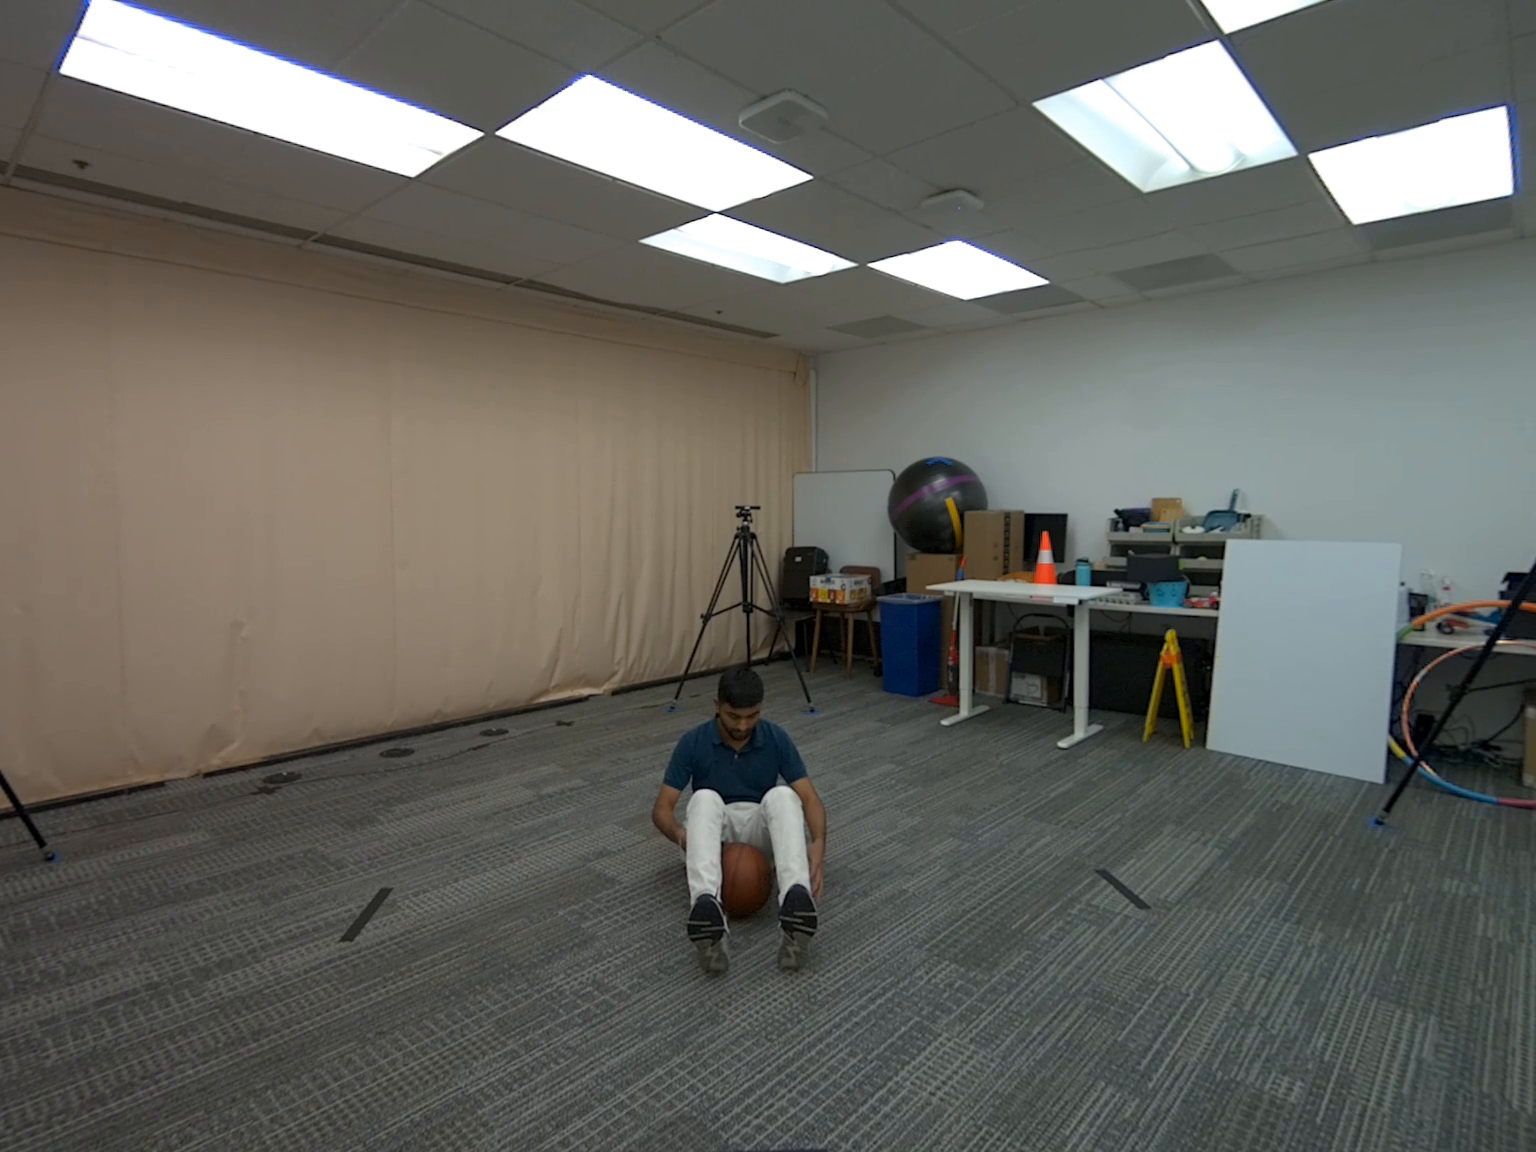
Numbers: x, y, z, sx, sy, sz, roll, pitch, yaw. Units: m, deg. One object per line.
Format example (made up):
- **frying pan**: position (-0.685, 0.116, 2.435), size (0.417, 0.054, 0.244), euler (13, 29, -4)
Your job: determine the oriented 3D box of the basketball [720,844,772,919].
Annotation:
- **basketball**: position (-0.089, 1.031, 2.878), size (0.236, 0.235, 0.237), euler (0, 4, -2)
